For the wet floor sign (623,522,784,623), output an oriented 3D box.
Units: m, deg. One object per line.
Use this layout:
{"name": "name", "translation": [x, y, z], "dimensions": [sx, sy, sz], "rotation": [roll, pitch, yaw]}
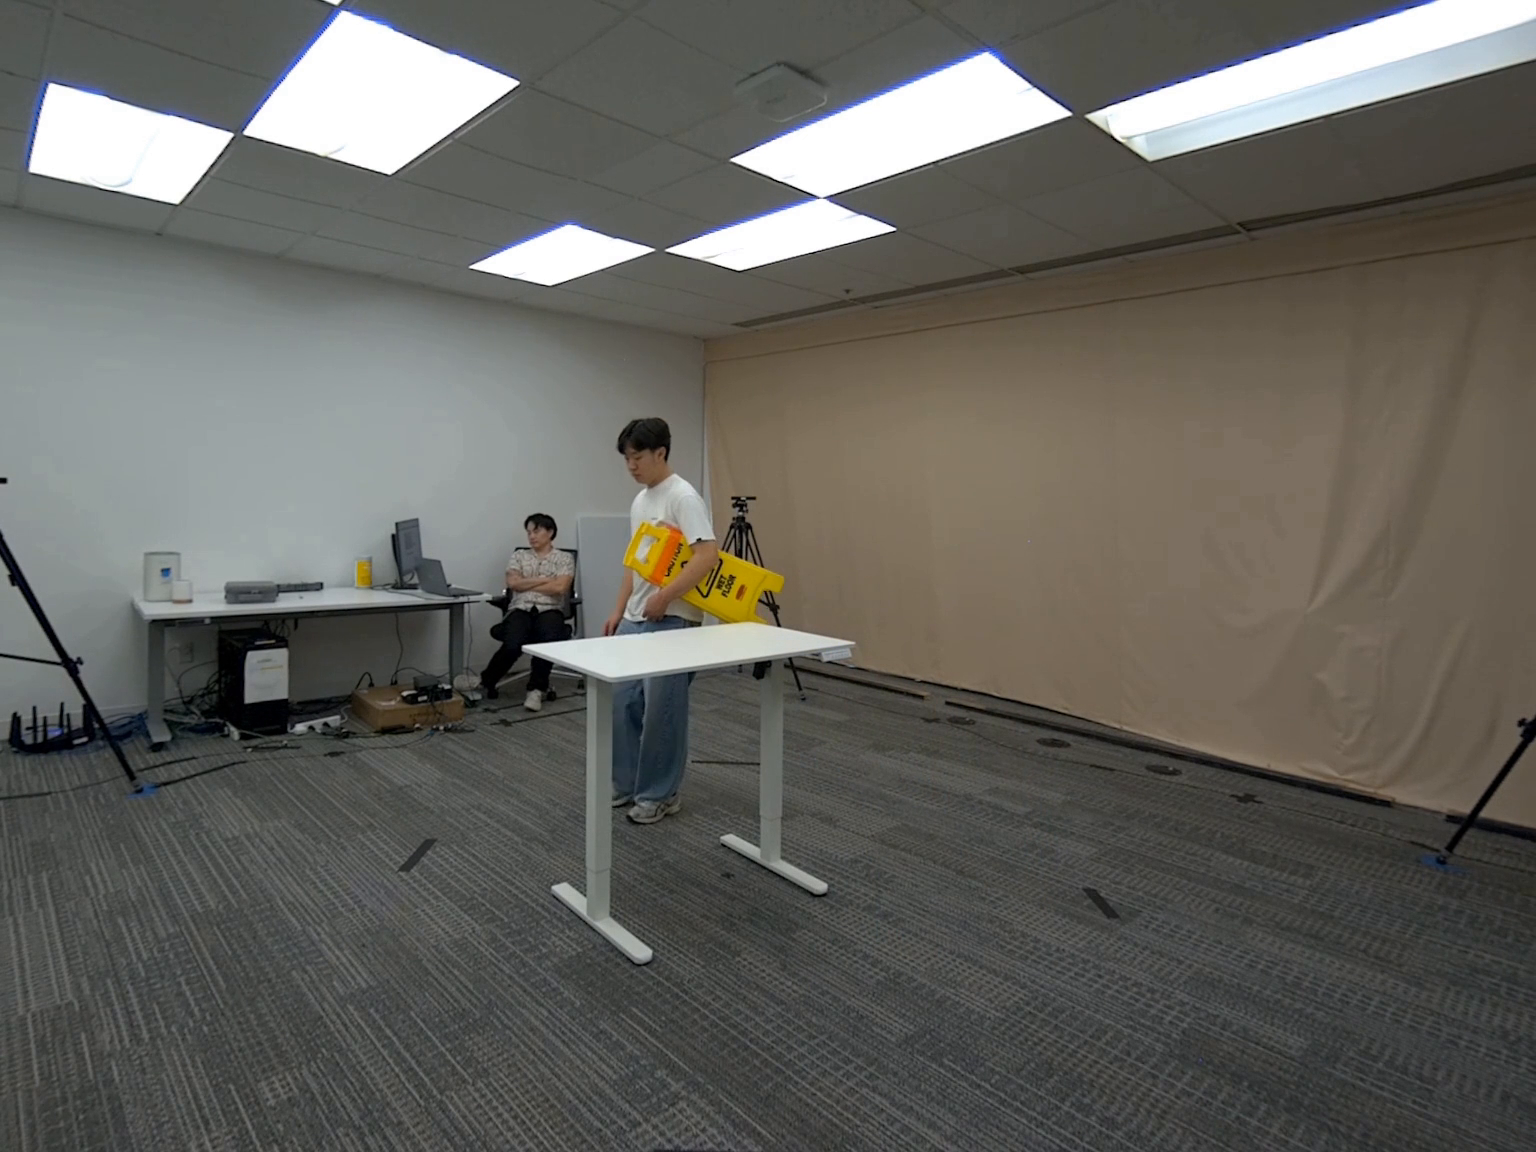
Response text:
{"name": "wet floor sign", "translation": [-0.291, 0.002, 3.513], "dimensions": [0.633, 0.283, 0.295], "rotation": [27, -8, -21]}
